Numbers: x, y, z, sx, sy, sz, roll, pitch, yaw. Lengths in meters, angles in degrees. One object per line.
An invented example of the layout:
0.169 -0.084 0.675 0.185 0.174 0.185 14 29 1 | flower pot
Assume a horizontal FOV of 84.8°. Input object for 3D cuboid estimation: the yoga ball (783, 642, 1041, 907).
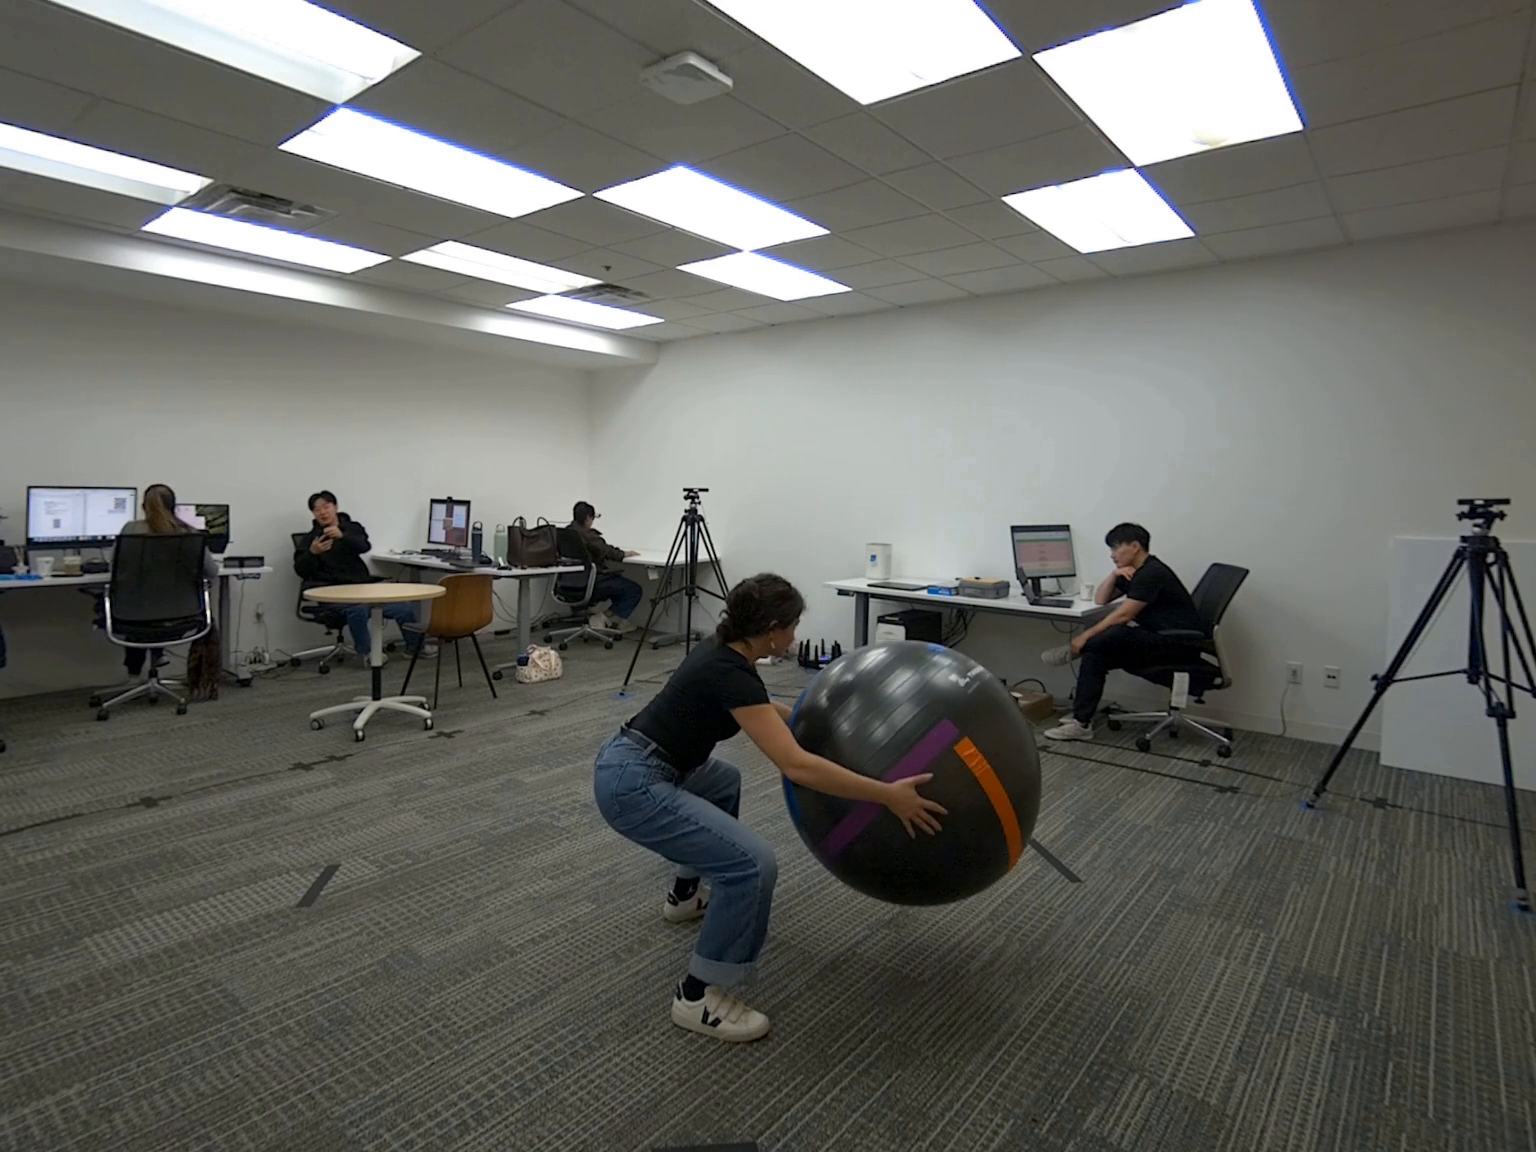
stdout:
0.412 0.564 2.533 0.757 0.756 0.762 1 4 -2 | yoga ball
